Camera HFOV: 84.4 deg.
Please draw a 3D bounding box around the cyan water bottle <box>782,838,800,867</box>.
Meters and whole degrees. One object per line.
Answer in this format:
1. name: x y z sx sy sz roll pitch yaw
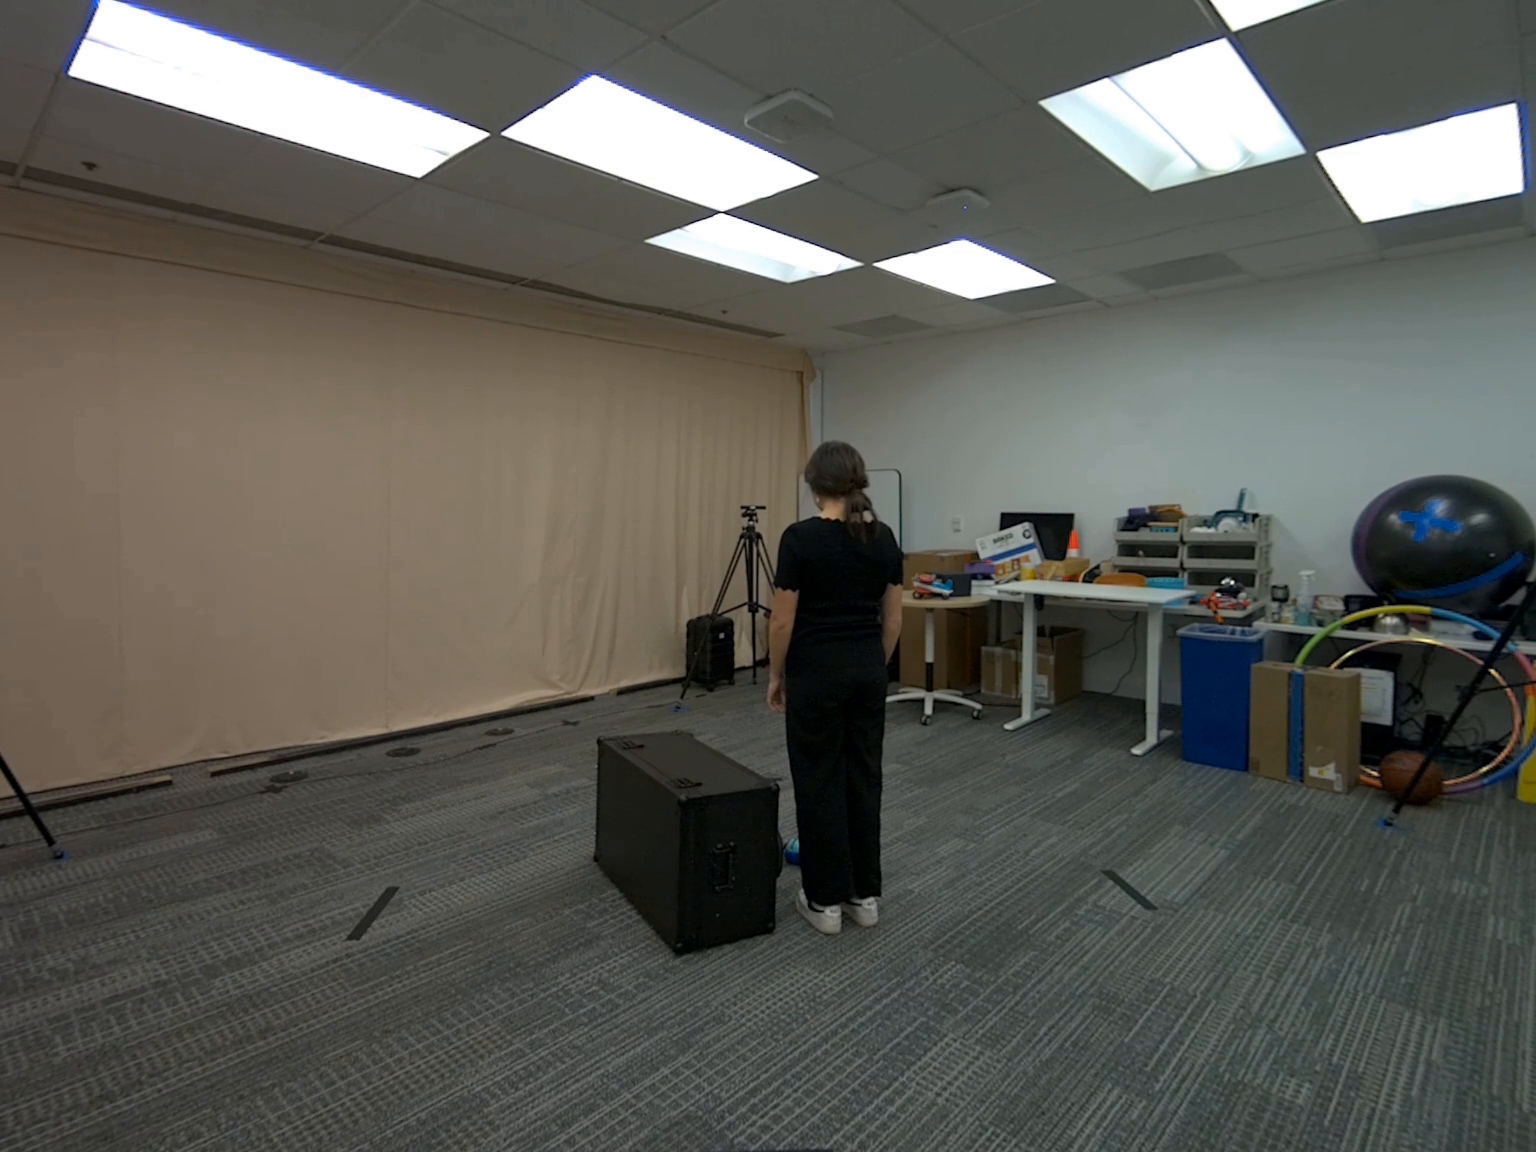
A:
1. cyan water bottle: 0.196 1.072 3.231 0.291 0.092 0.090 4 5 29
